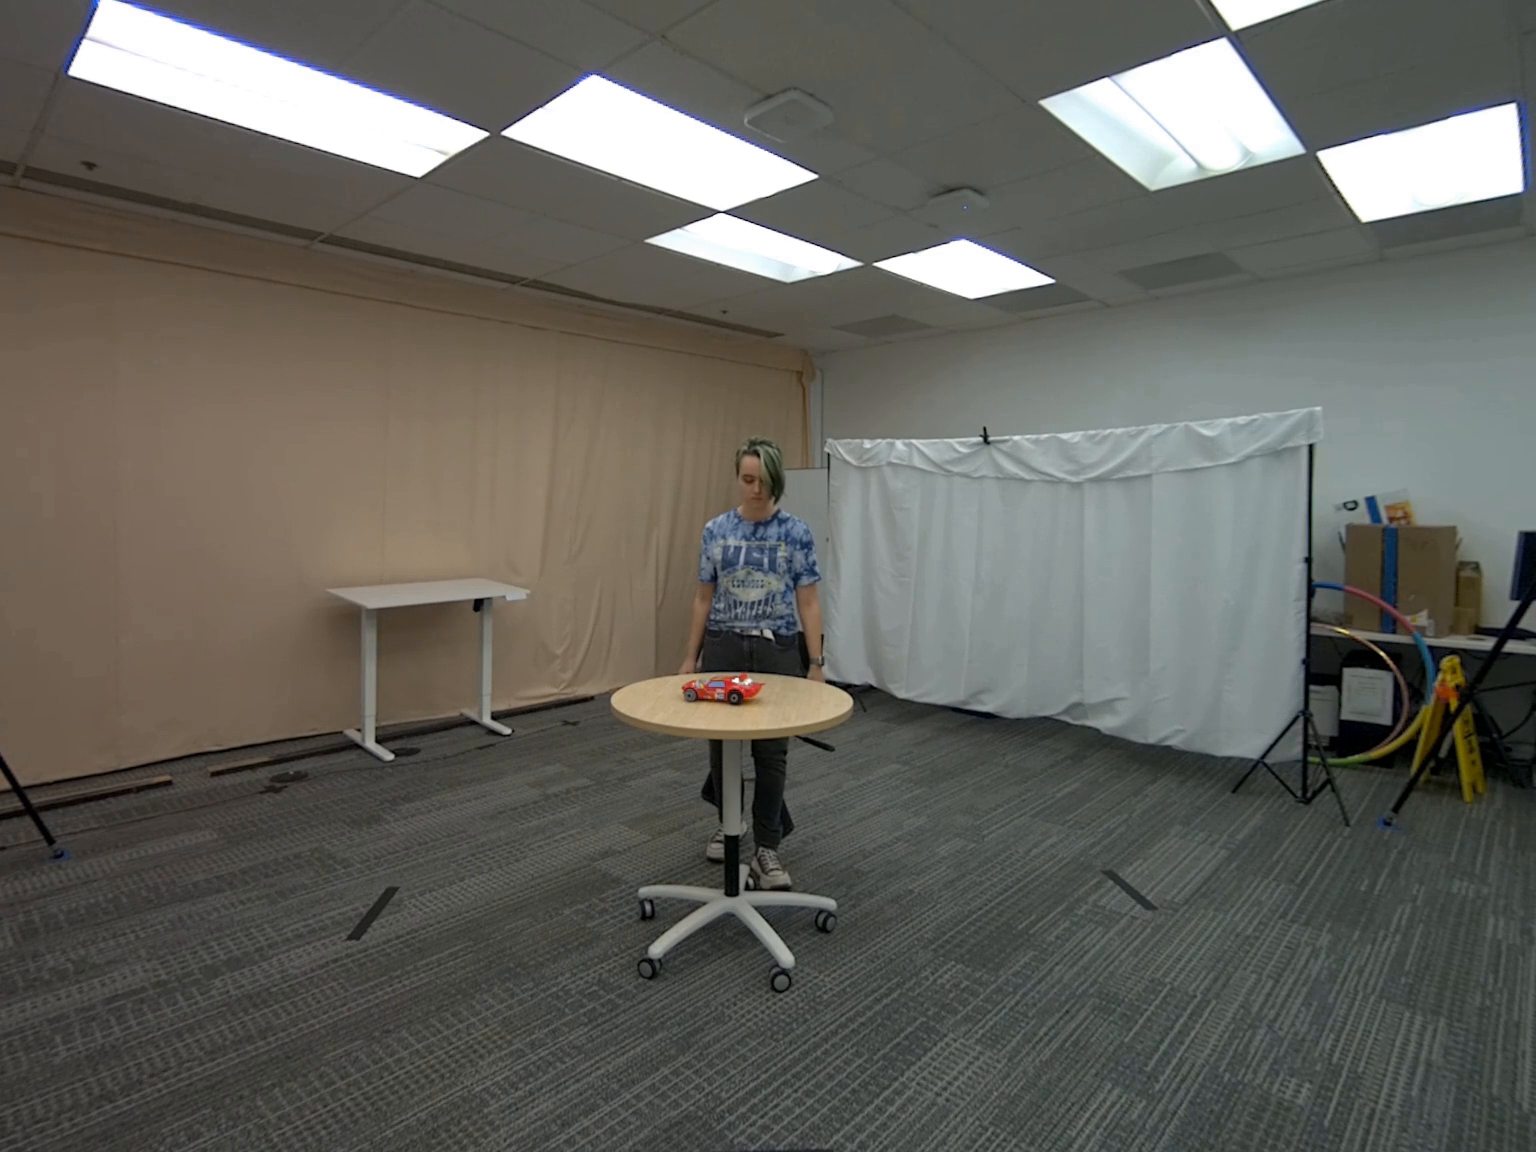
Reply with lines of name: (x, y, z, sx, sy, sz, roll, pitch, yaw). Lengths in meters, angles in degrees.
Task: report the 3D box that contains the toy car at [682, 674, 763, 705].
toy car: (-0.131, 0.357, 2.641, 0.259, 0.083, 0.128, -9, 3, 17)
